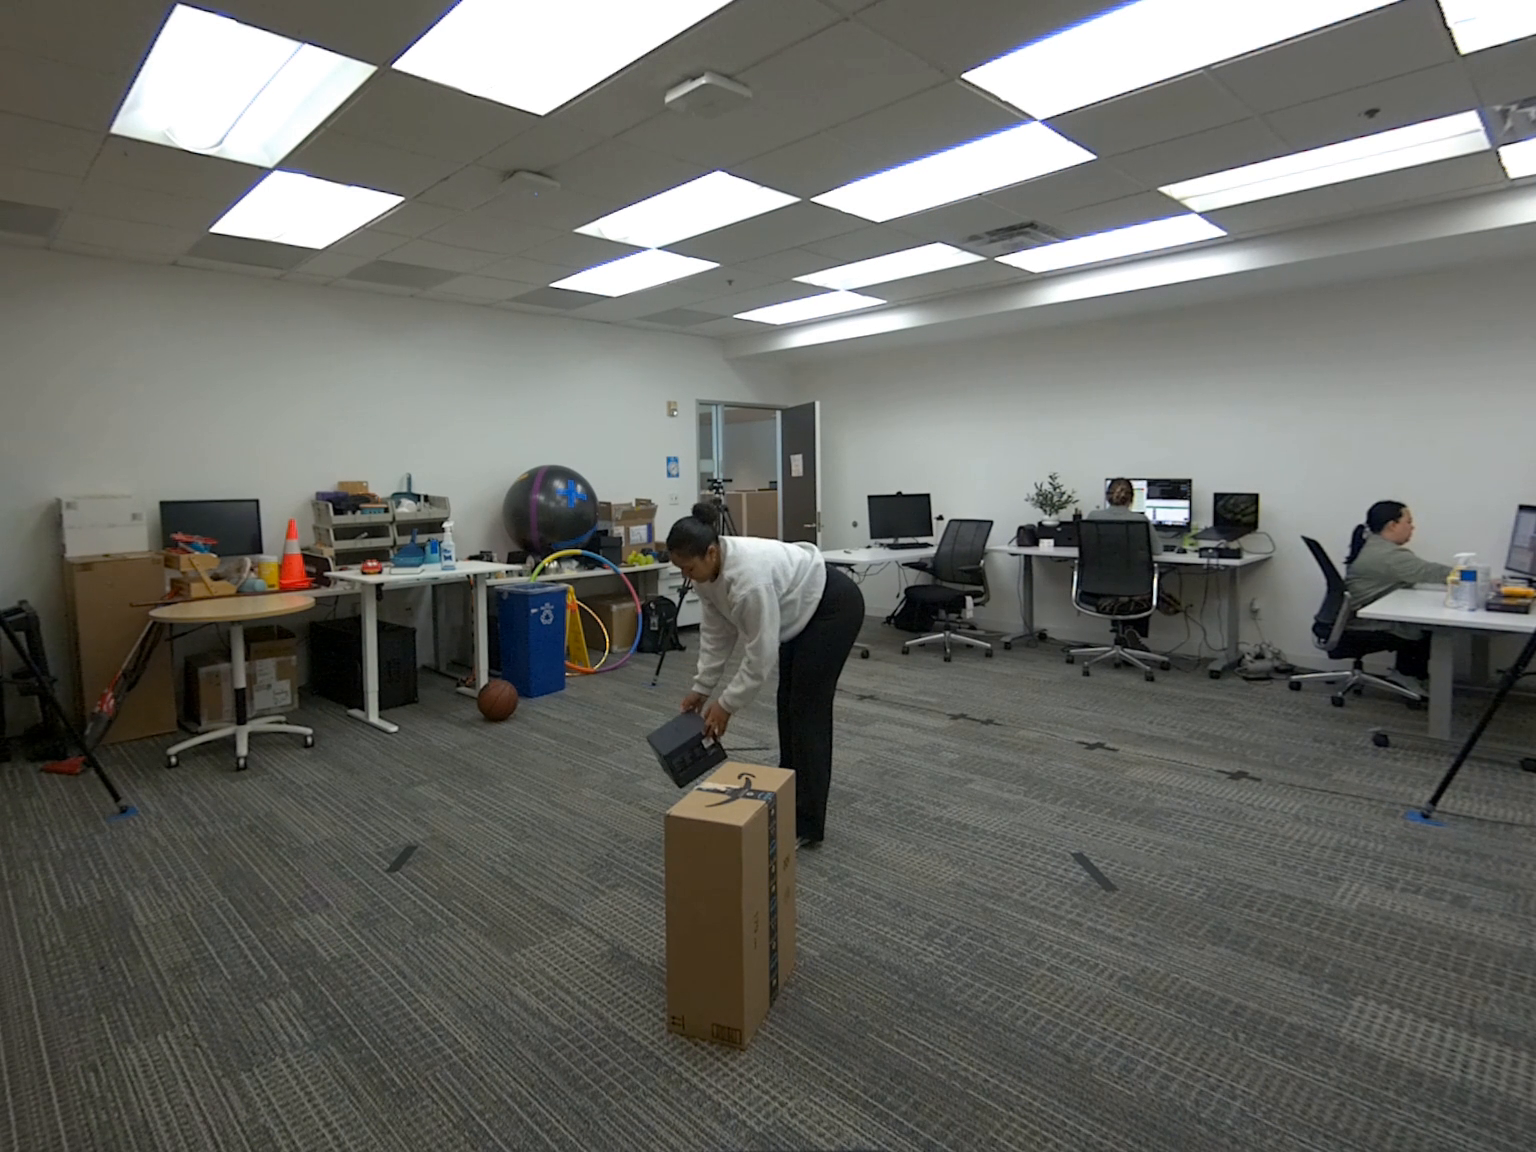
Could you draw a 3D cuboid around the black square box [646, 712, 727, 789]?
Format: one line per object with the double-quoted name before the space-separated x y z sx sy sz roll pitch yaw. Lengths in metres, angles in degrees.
"black square box" -0.320 0.653 3.276 0.215 0.153 0.234 -30 18 -17
